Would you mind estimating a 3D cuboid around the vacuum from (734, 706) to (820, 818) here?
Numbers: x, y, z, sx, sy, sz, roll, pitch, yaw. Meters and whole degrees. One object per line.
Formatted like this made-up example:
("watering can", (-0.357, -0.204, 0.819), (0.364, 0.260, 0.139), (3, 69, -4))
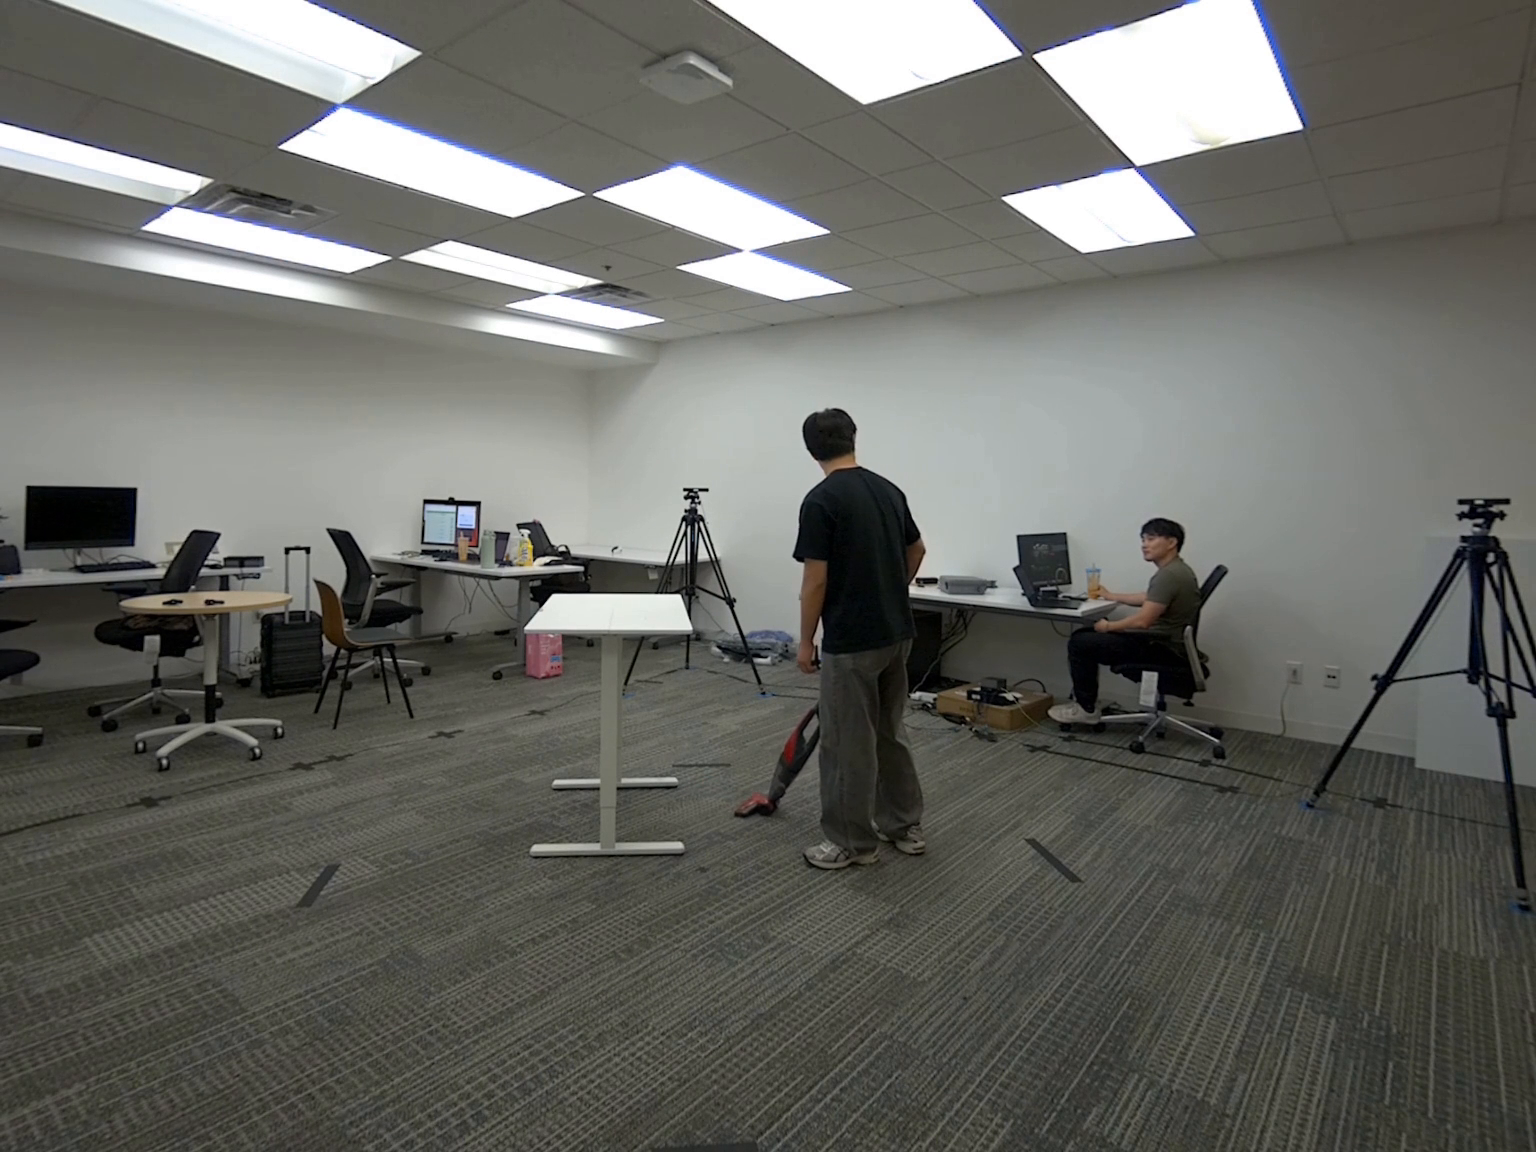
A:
("vacuum", (0.202, 0.586, 3.579), (0.147, 1.045, 0.248), (36, 15, 15))
